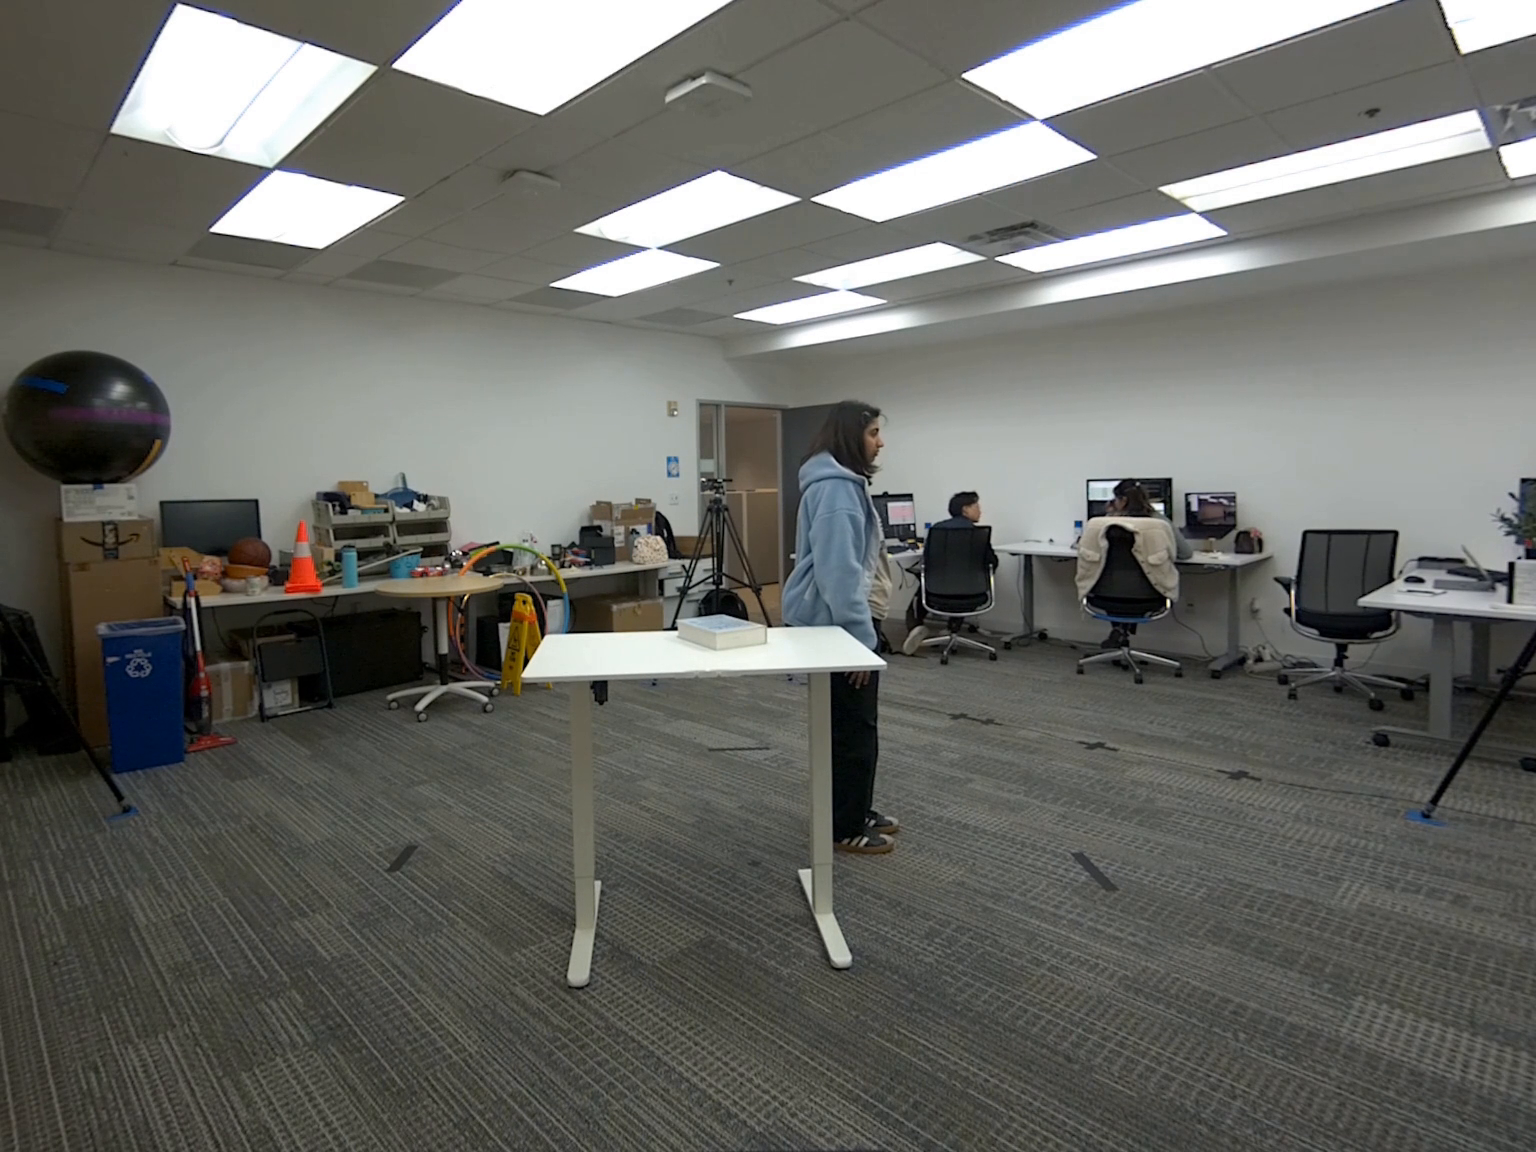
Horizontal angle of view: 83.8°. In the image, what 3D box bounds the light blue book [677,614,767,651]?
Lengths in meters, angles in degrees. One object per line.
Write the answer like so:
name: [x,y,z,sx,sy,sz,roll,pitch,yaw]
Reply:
light blue book: [-0.145,0.180,2.722,0.187,0.059,0.268,-5,8,-32]
